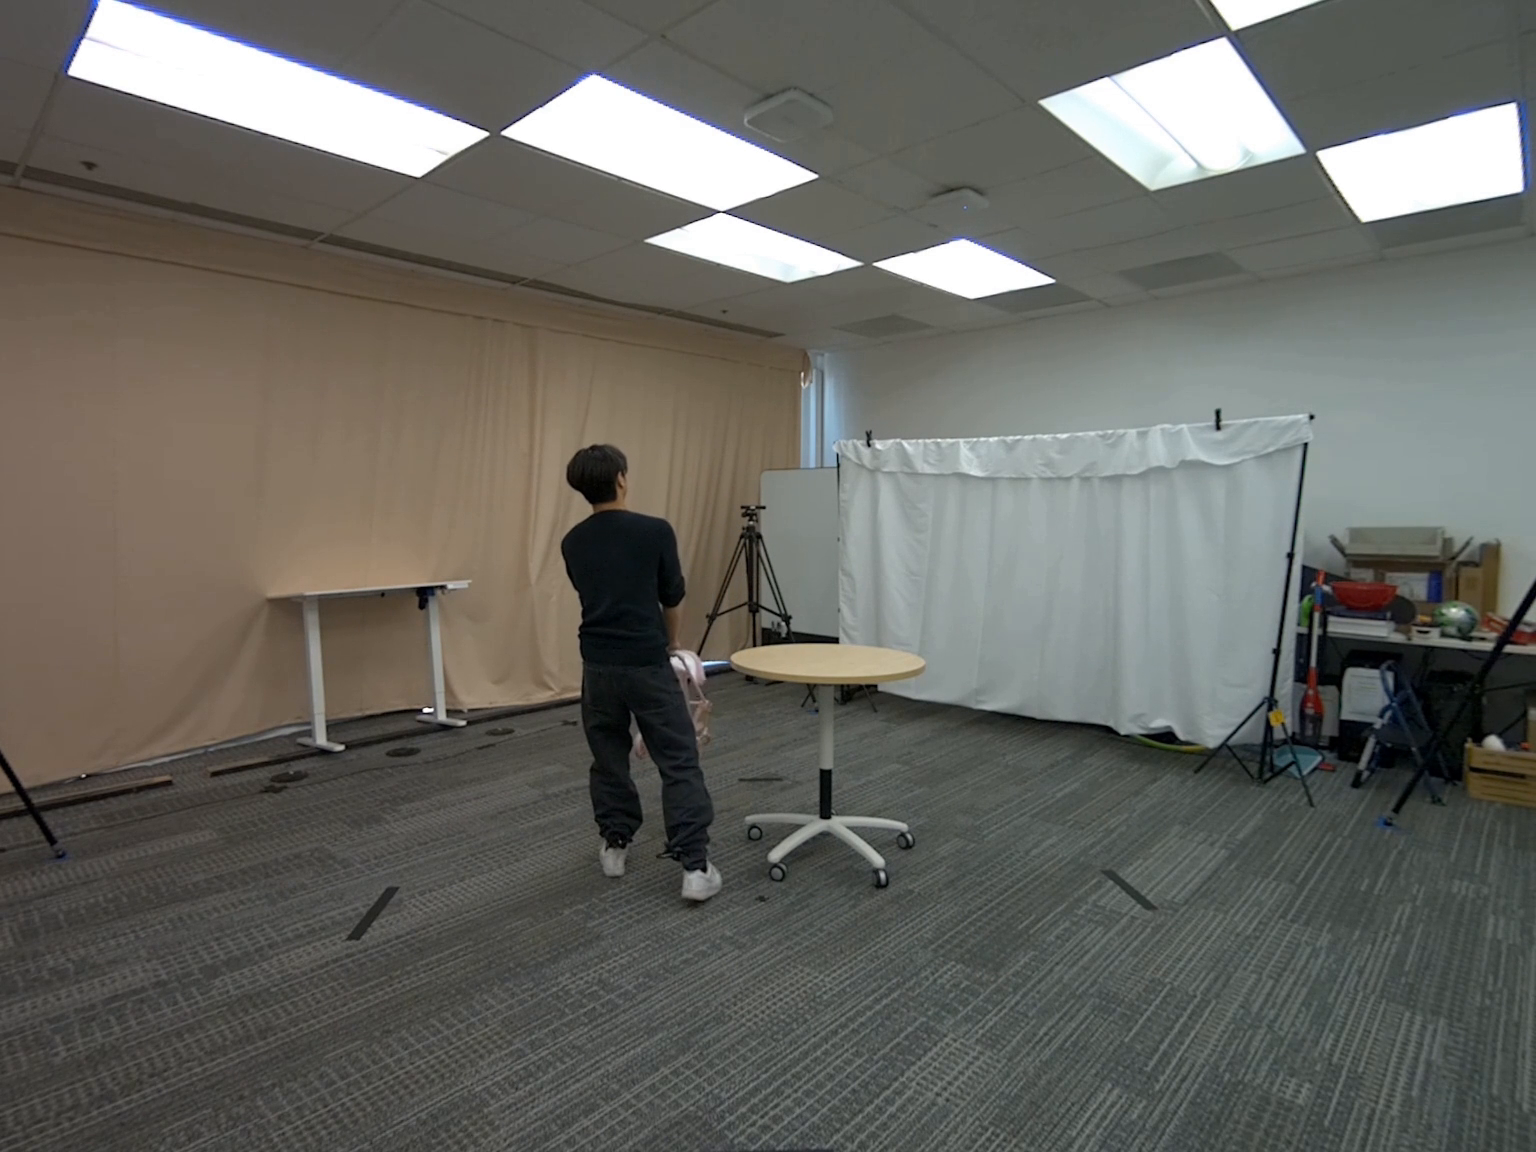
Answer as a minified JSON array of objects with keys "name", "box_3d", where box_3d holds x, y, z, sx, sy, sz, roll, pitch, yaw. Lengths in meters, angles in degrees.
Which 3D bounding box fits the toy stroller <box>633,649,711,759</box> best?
[{"name":"toy stroller","box_3d":[-0.380,0.558,3.612,0.289,0.536,0.331,-2,-2,31]}]
